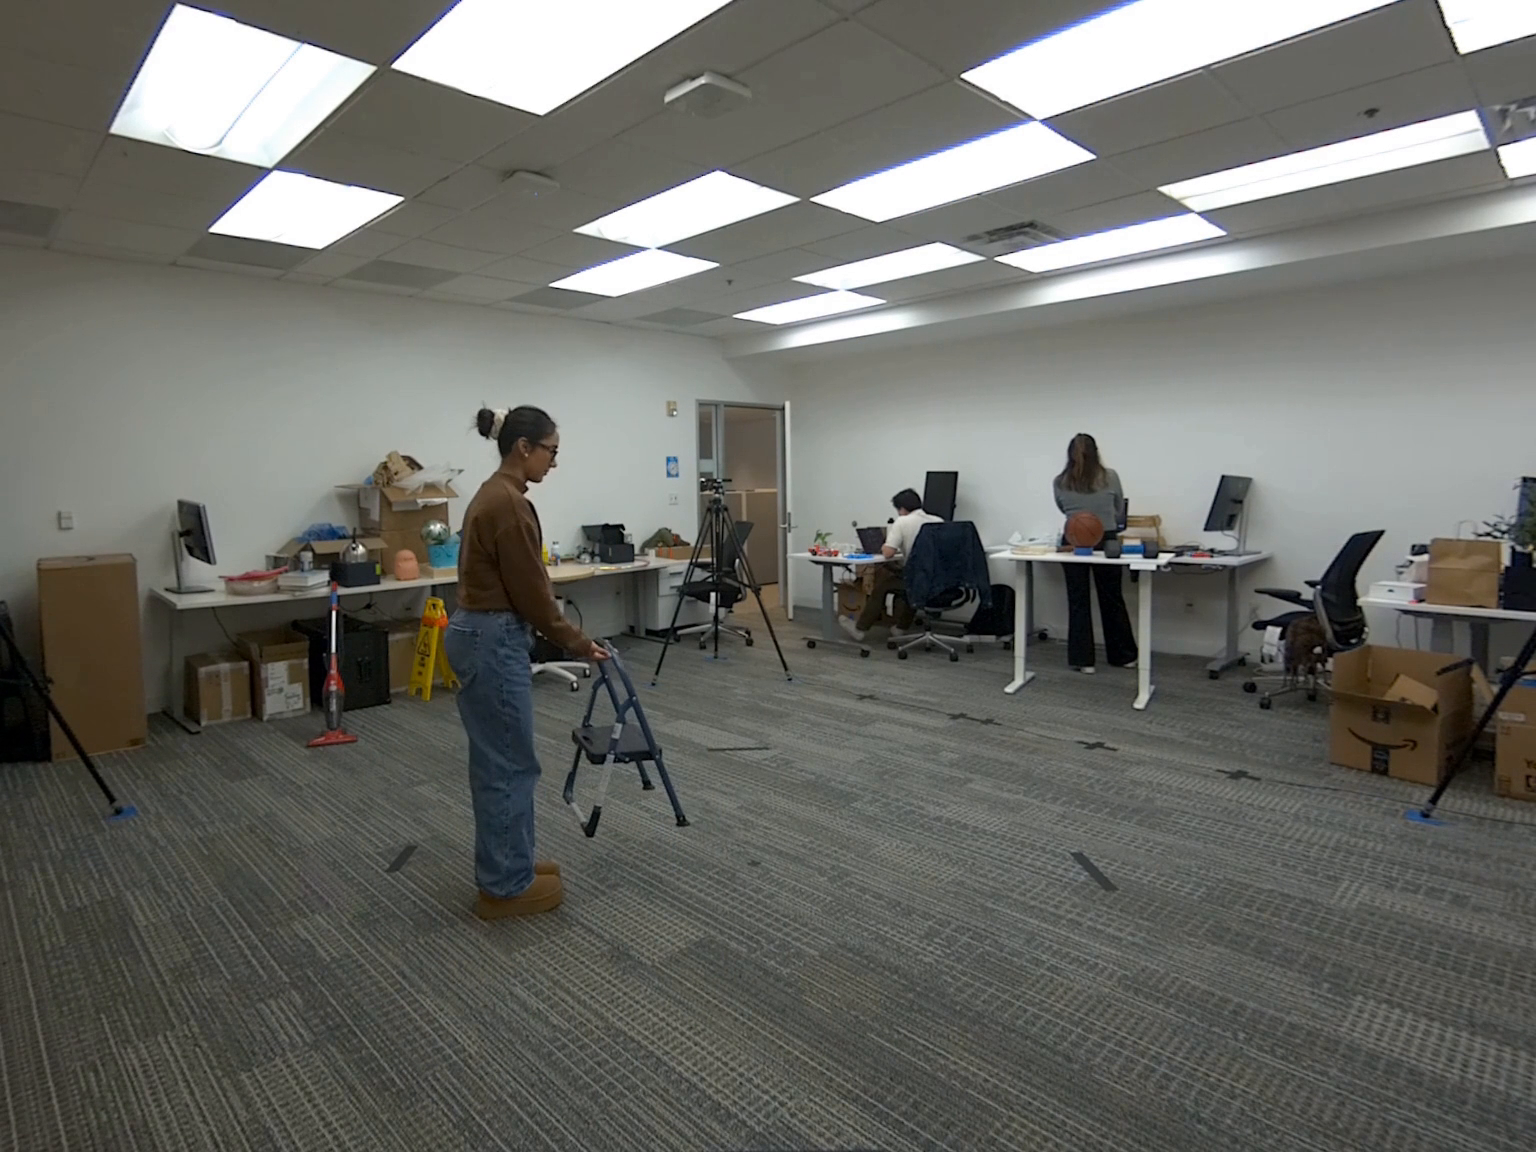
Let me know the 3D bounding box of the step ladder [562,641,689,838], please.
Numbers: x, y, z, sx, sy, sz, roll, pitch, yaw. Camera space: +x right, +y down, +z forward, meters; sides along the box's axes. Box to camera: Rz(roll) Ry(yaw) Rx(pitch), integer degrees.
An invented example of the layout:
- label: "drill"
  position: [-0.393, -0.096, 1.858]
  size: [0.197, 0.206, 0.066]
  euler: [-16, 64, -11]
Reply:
- label: "step ladder"
  position: [-0.506, 0.525, 2.978]
  size: [0.342, 0.605, 0.441]
  euler: [0, 2, -25]
